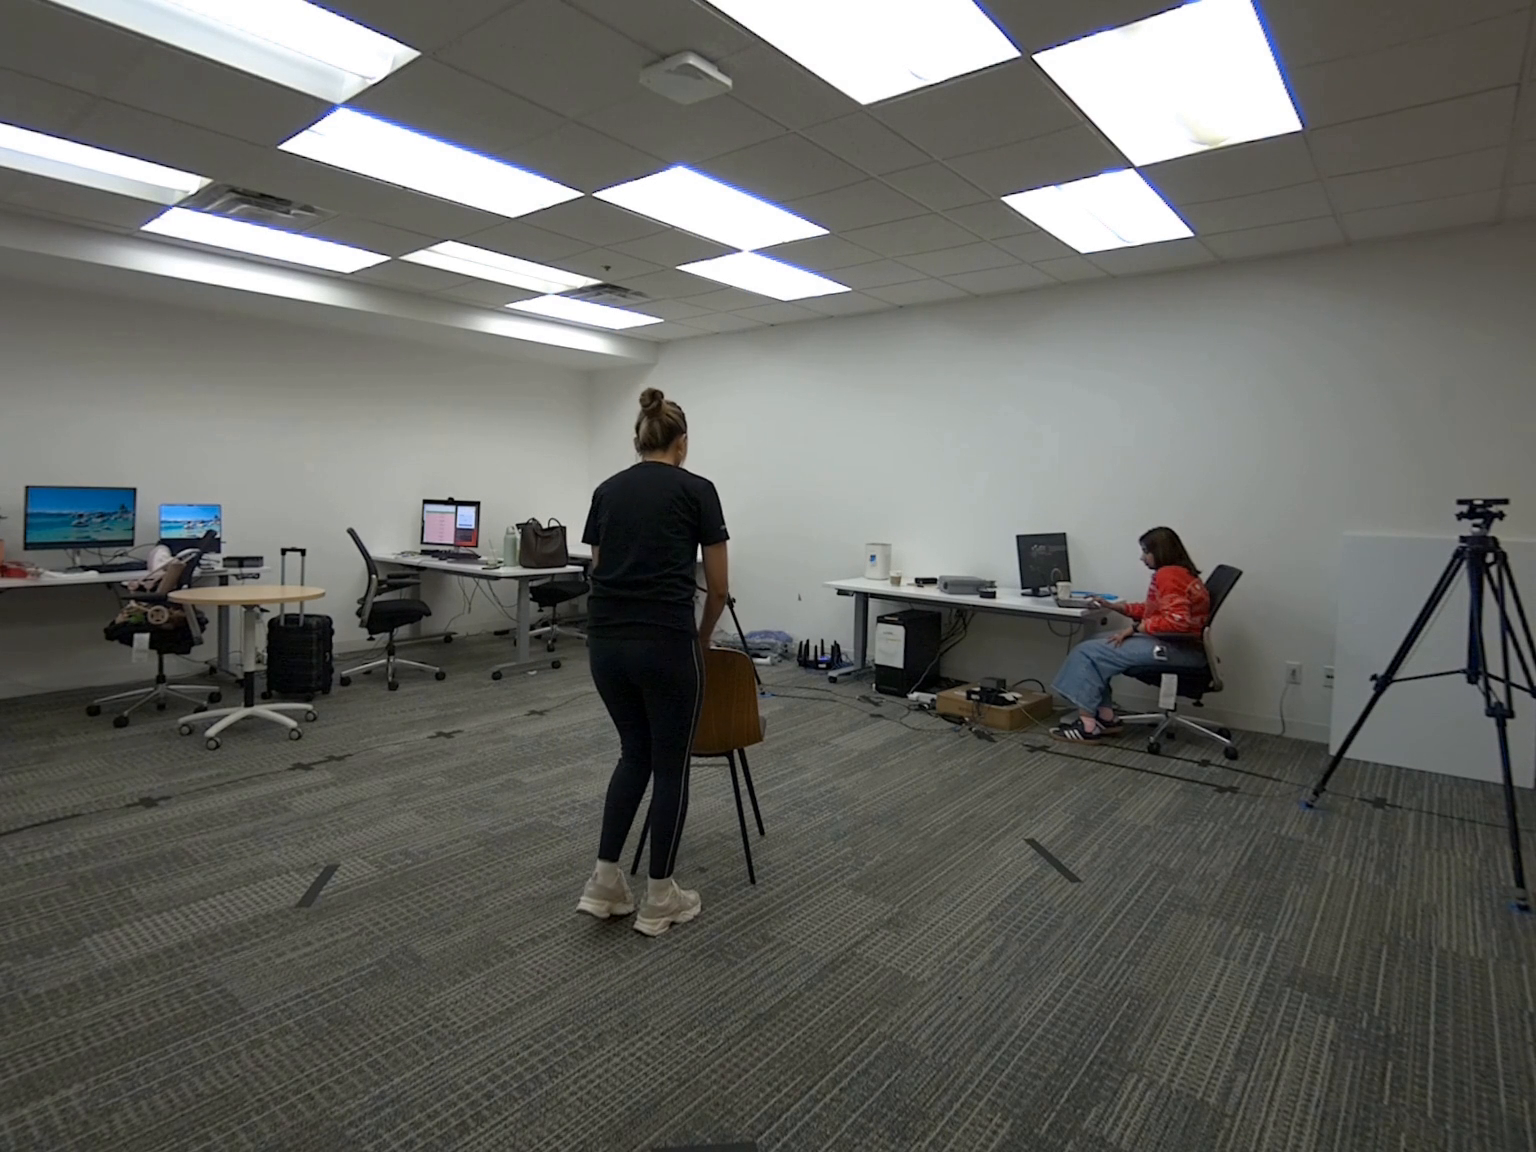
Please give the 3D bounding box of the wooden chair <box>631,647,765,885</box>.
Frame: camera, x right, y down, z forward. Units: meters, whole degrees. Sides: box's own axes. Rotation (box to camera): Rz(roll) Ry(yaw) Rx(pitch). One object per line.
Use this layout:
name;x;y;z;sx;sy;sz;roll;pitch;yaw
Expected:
wooden chair;-0.258;0.629;3.224;0.482;0.872;0.523;1;7;6
